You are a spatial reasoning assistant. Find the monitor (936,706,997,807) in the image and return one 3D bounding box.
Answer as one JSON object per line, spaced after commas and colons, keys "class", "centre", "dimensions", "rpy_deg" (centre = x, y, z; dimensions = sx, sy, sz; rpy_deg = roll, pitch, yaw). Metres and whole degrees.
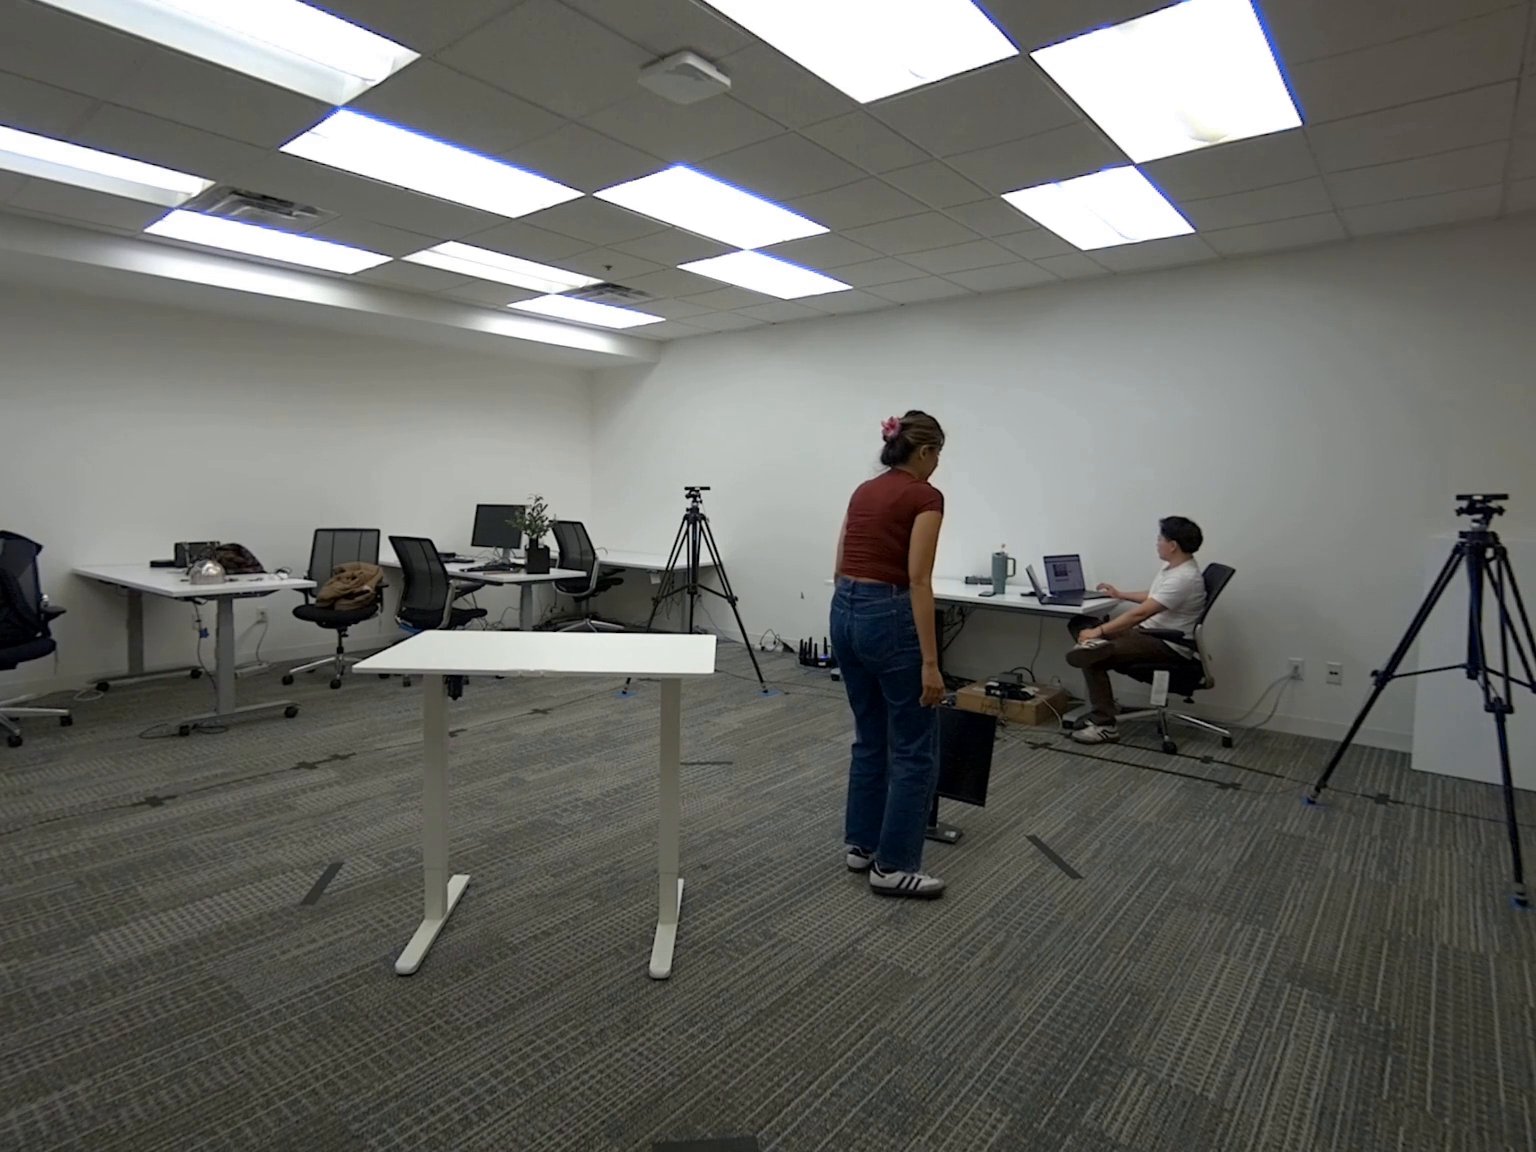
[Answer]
{"class": "monitor", "centre": [0.644, 0.780, 3.486], "dimensions": [0.556, 0.522, 0.181], "rpy_deg": [3, 1, 33]}
